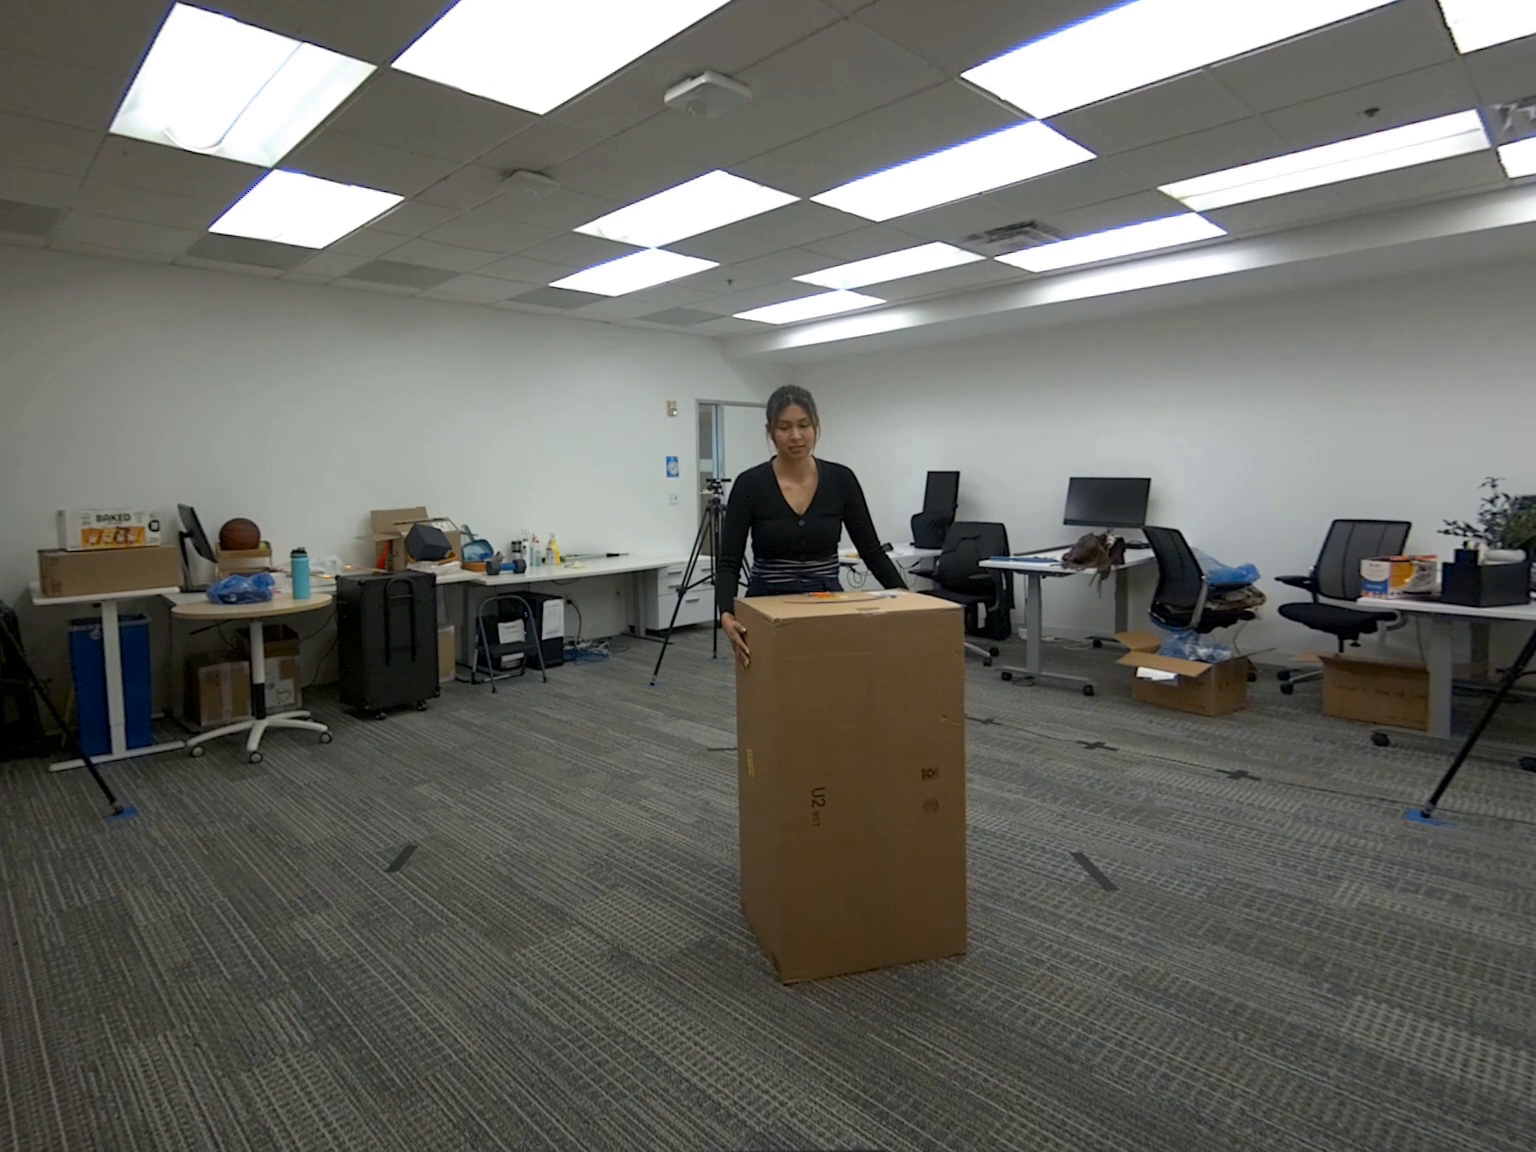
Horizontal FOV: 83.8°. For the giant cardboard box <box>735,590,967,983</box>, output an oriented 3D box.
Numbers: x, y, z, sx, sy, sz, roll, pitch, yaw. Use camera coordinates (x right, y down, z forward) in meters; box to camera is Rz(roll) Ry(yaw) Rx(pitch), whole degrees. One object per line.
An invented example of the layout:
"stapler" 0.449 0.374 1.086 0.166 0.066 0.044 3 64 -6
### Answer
"giant cardboard box" 0.238 0.590 2.592 0.570 1.022 0.434 -2 5 -15
